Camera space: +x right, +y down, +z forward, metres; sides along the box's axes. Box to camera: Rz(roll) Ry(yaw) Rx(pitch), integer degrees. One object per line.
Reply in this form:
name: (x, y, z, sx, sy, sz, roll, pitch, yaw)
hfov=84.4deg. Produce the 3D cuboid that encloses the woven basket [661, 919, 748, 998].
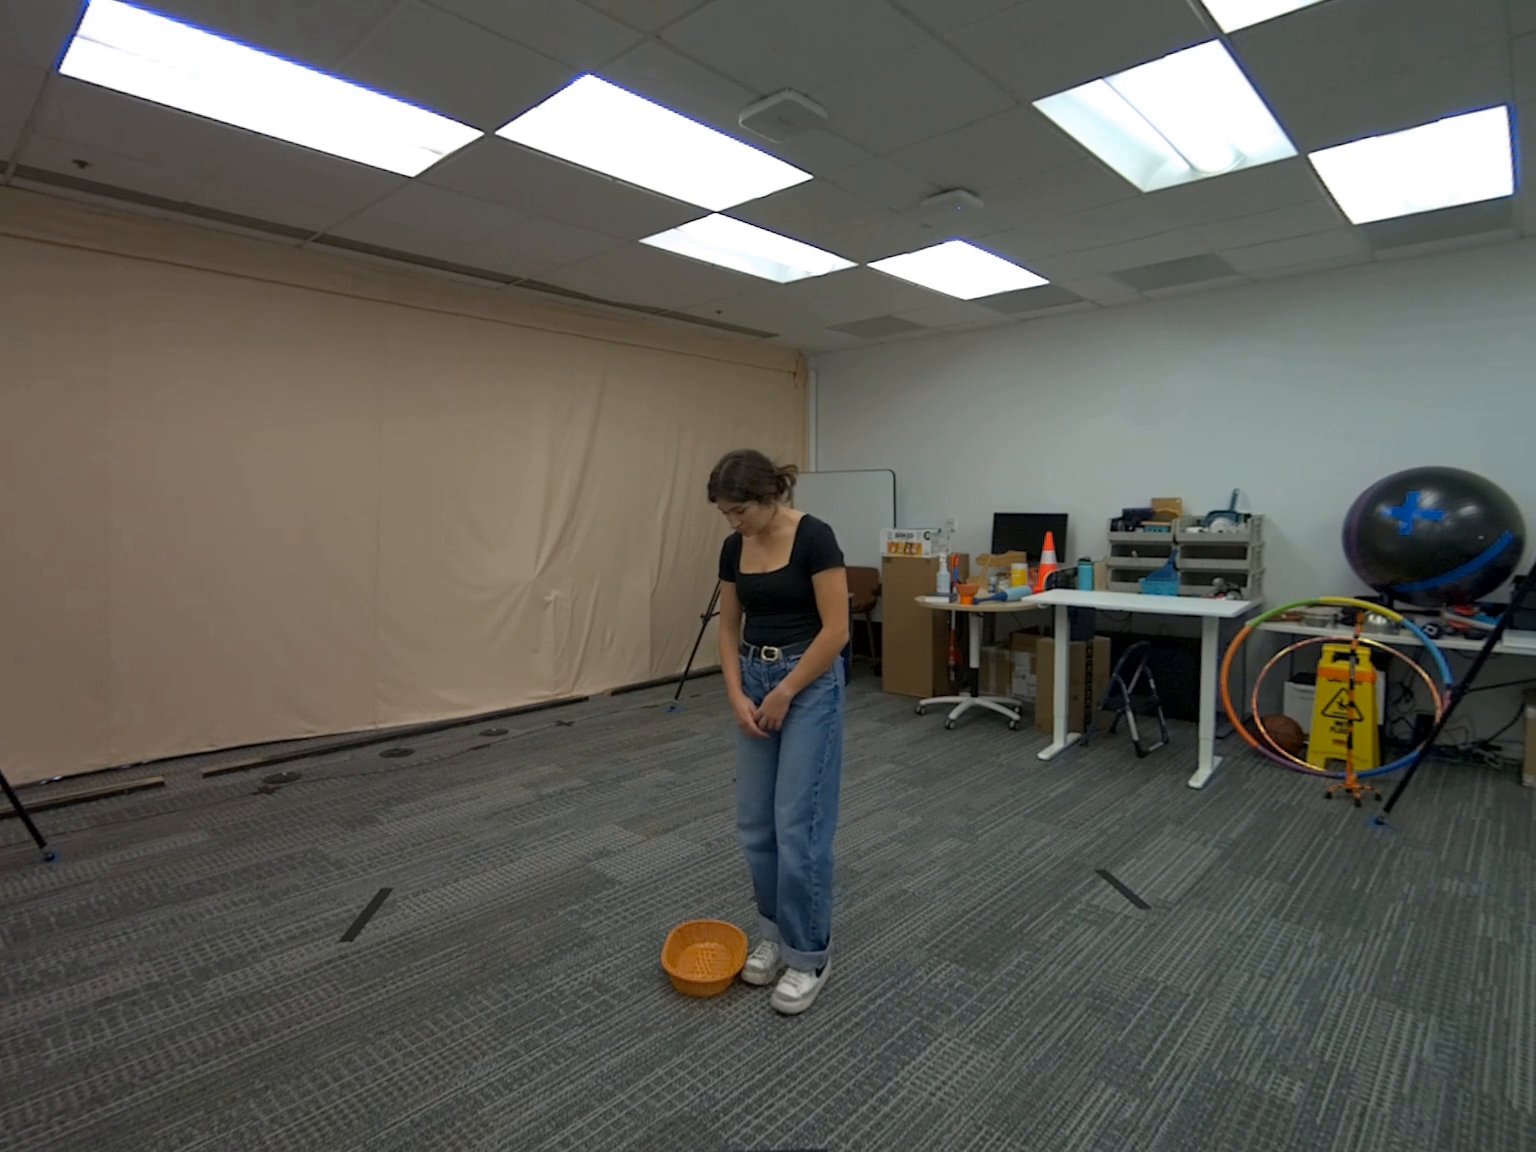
woven basket: (-0.184, 1.149, 2.524, 0.255, 0.073, 0.348, 2, 5, 8)
